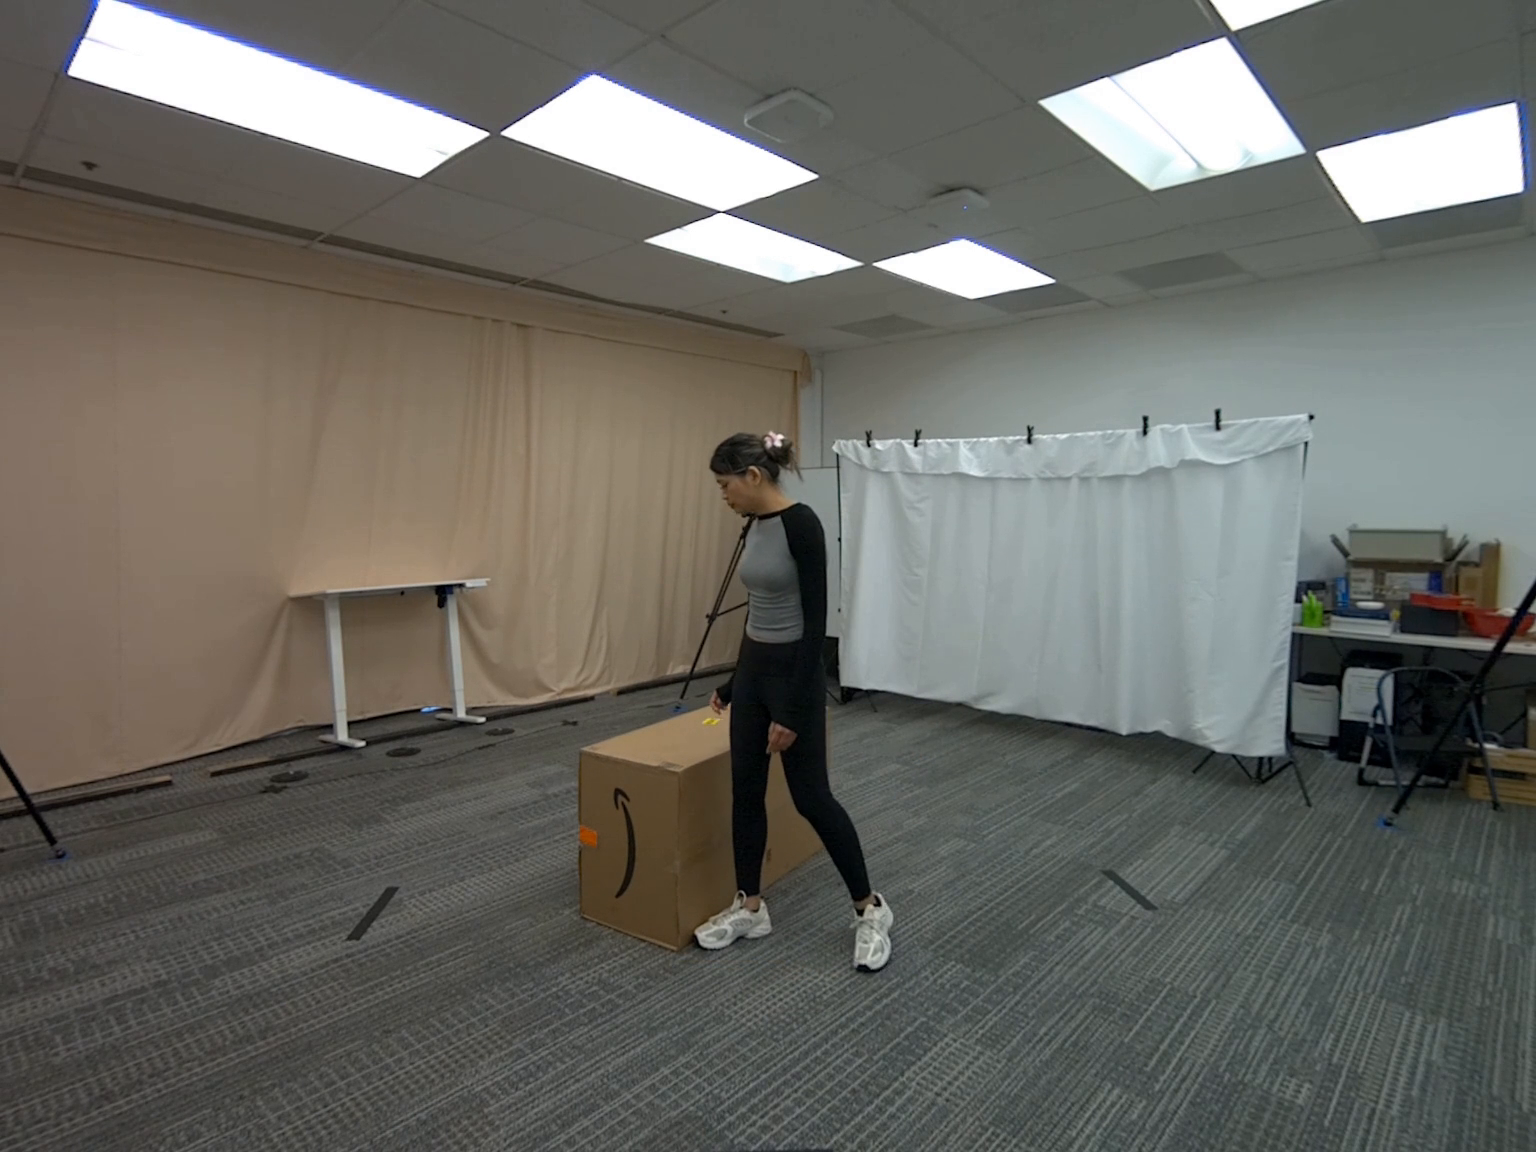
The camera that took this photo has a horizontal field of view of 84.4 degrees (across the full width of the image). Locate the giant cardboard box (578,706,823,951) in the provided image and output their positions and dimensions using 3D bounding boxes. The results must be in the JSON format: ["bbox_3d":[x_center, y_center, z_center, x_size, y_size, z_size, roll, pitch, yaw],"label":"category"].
[{"bbox_3d":[-0.199,0.845,3.150,0.439,0.576,0.997,3,5,33],"label":"giant cardboard box"}]
